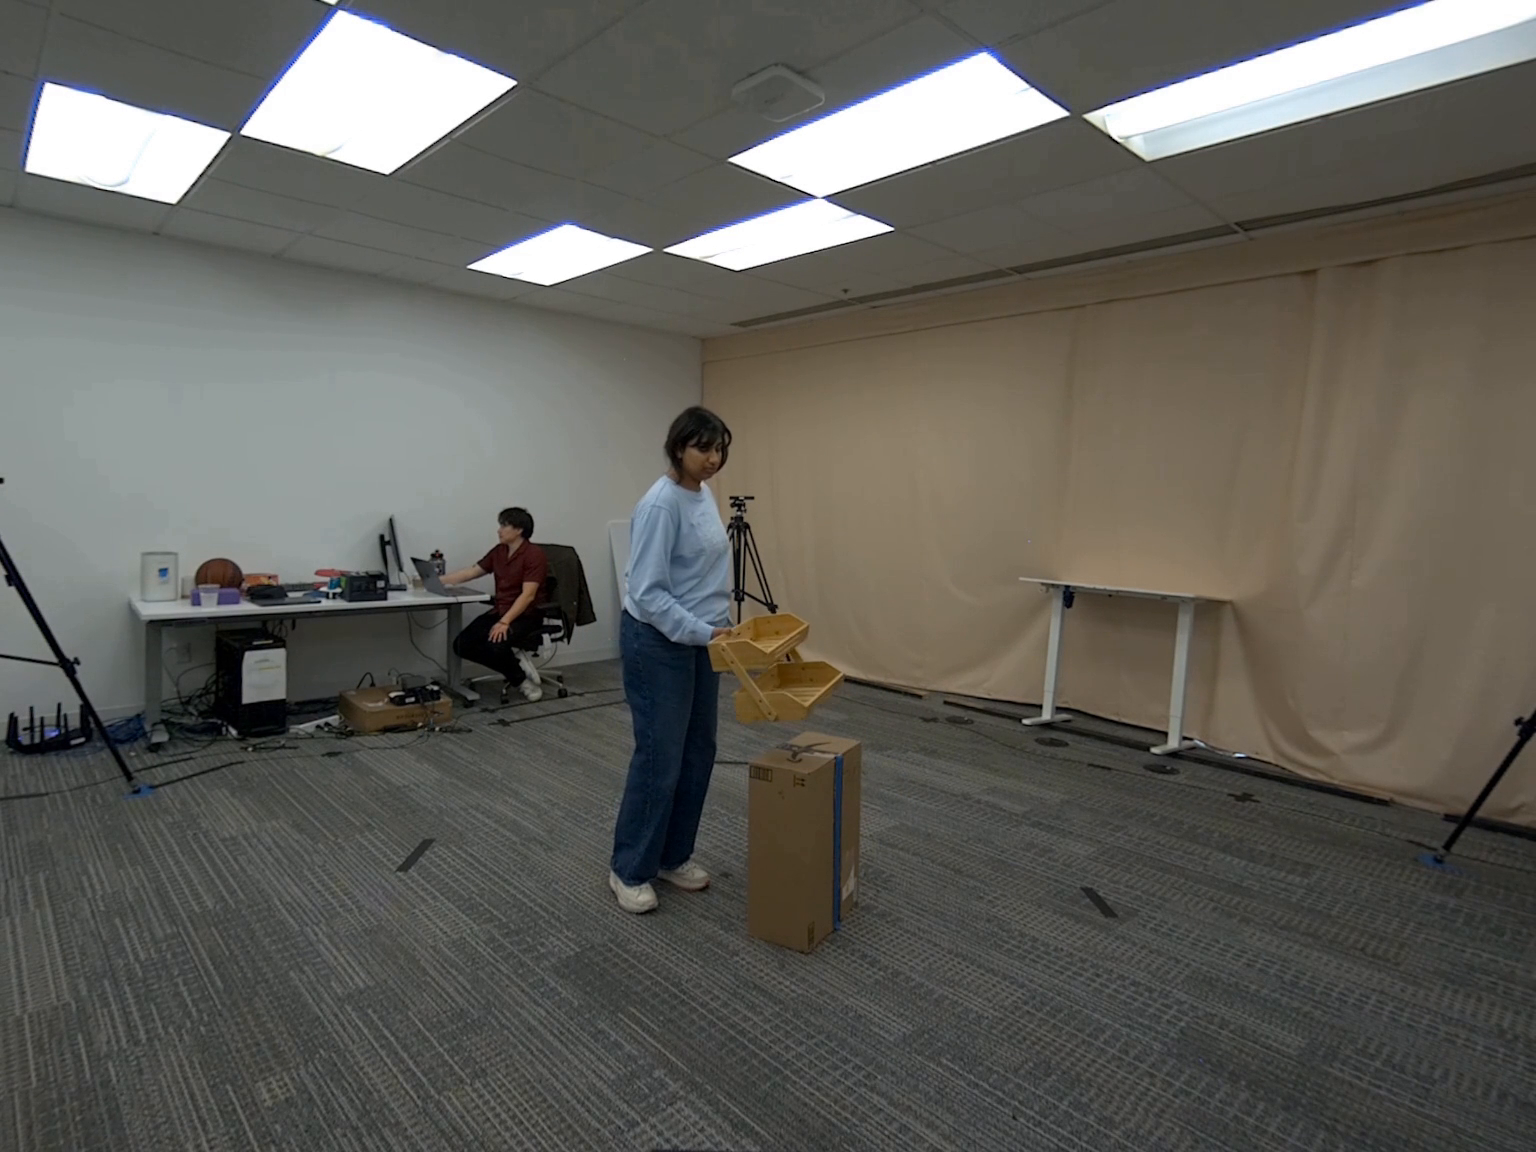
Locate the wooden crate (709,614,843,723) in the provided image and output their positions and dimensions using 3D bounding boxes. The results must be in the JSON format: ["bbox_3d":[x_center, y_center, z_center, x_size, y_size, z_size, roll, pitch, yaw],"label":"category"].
[{"bbox_3d":[0.029,0.285,2.679,0.307,0.272,0.320,-7,8,30],"label":"wooden crate"}]
